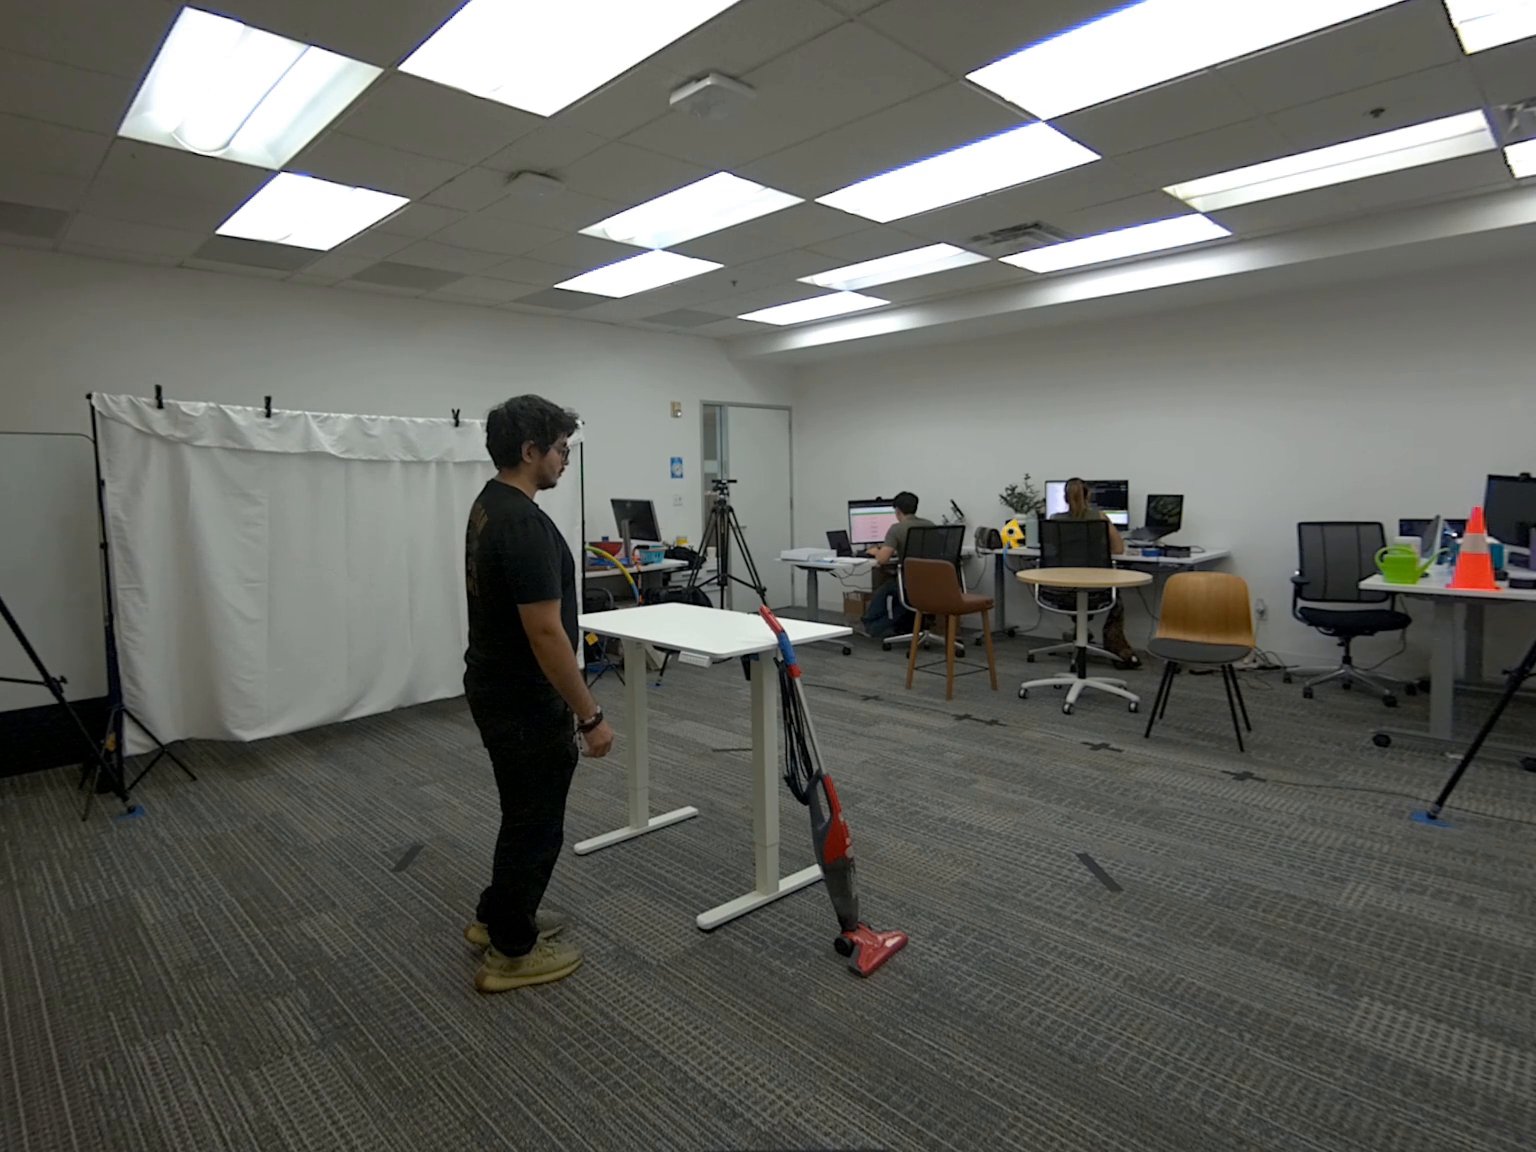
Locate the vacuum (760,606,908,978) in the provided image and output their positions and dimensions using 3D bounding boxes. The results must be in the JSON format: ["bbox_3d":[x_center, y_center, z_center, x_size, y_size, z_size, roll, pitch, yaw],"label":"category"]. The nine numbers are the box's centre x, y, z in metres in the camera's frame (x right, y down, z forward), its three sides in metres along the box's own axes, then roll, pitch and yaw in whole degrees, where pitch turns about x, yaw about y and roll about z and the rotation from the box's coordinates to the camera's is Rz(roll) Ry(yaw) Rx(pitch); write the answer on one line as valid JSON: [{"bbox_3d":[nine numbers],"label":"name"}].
[{"bbox_3d":[0.143,0.606,2.602,0.146,1.060,0.246,-23,-10,34],"label":"vacuum"}]
